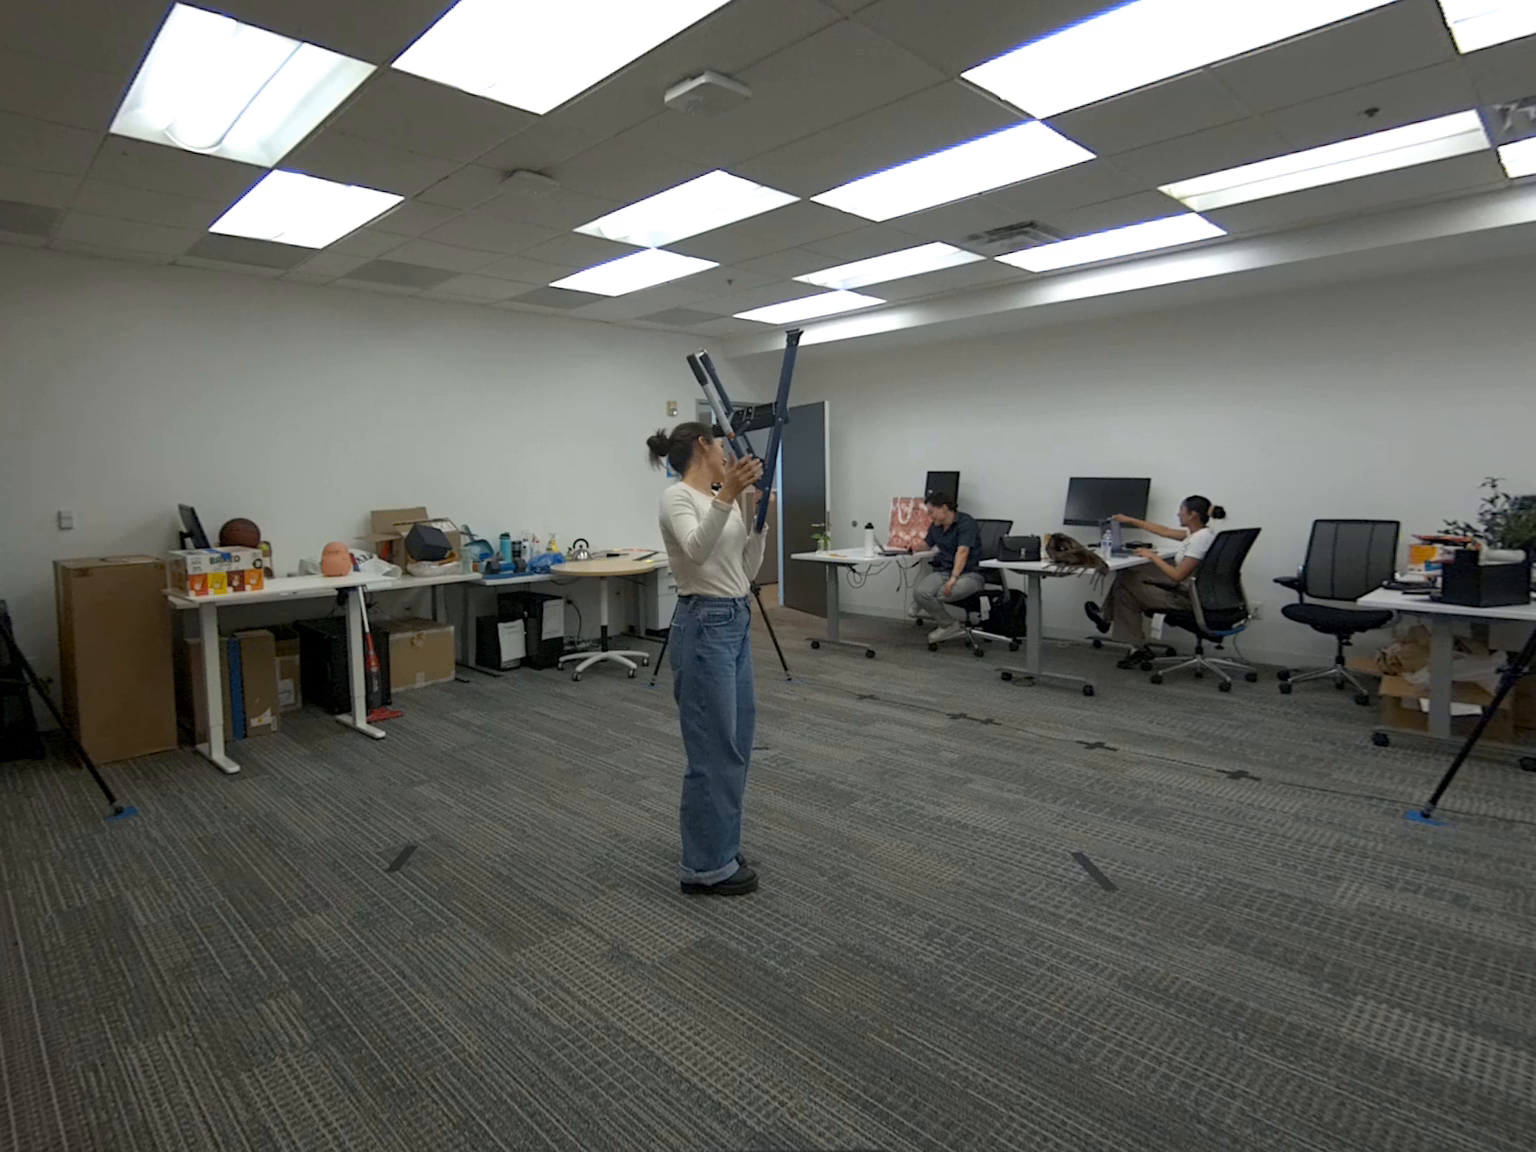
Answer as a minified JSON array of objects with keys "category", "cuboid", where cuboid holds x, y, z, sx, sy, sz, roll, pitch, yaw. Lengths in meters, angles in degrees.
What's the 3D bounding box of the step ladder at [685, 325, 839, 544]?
[{"category":"step ladder","cuboid":[-0.006,-0.458,2.747,0.351,0.597,0.434,-9,15,7]}]
